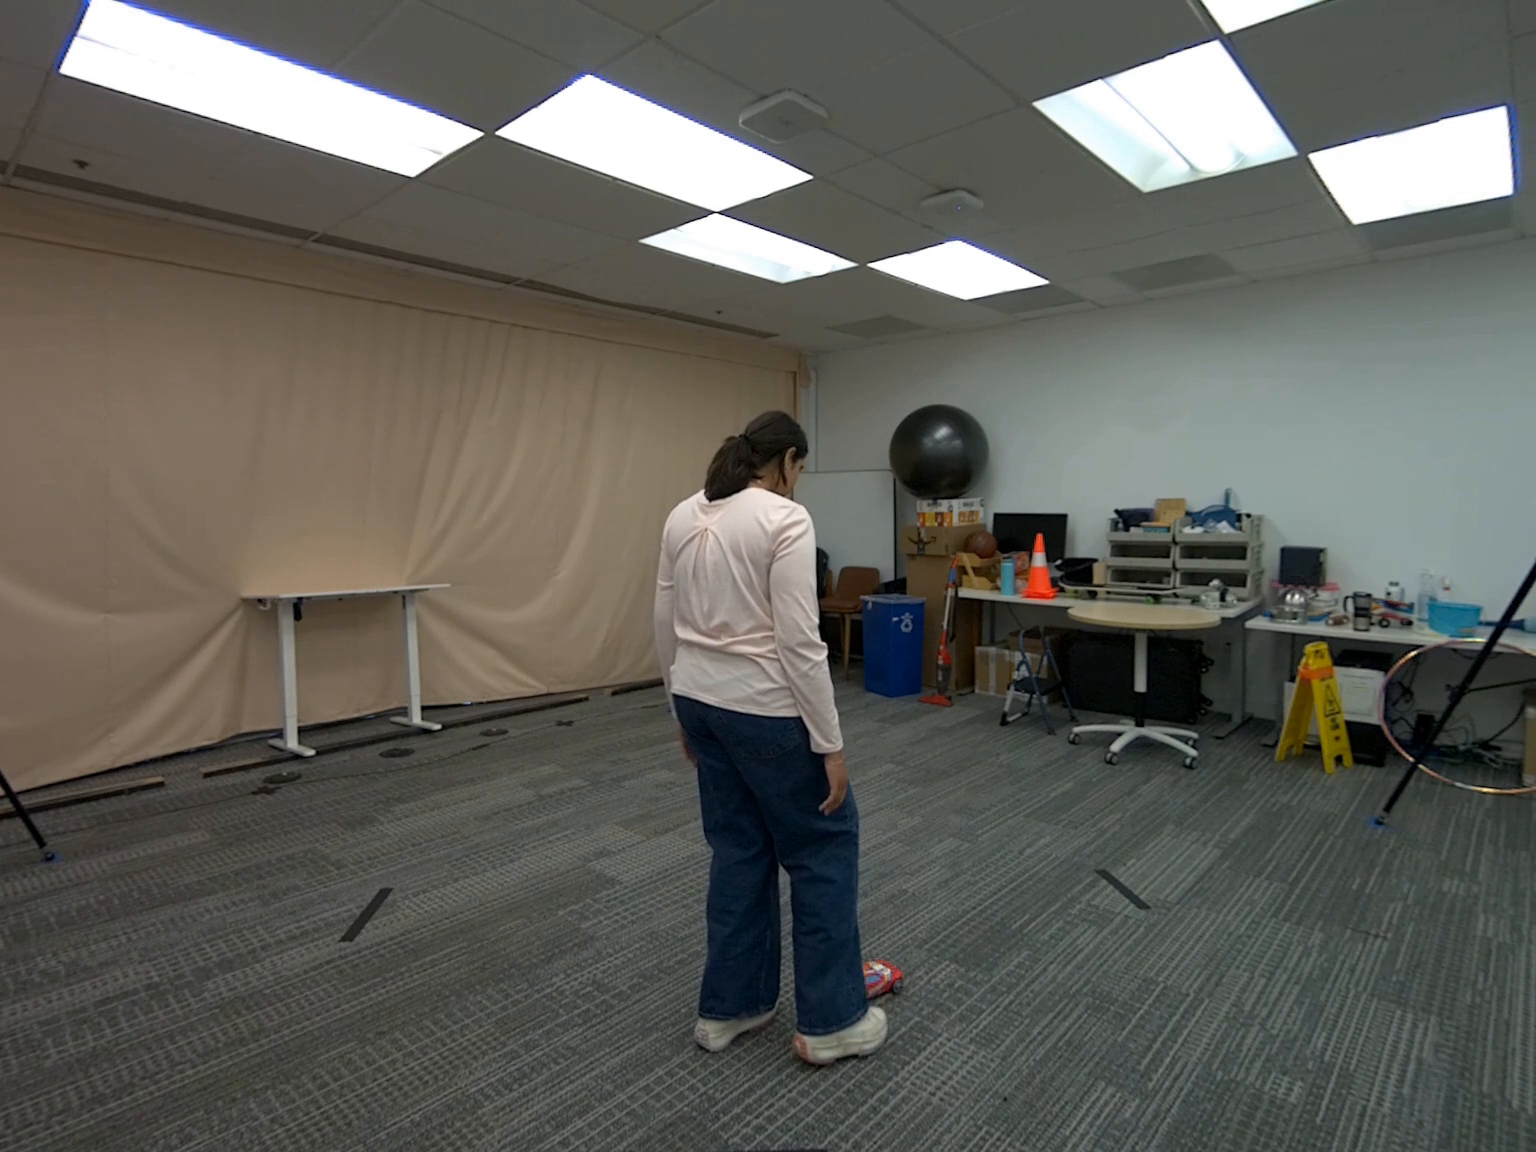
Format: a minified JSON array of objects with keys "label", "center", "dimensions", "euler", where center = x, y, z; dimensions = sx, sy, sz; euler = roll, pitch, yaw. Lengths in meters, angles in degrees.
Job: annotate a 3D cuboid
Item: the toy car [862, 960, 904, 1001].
[{"label":"toy car","center":[0.267,1.163,2.396],"dimensions":[0.247,0.083,0.134],"euler":[10,-2,-31]}]
